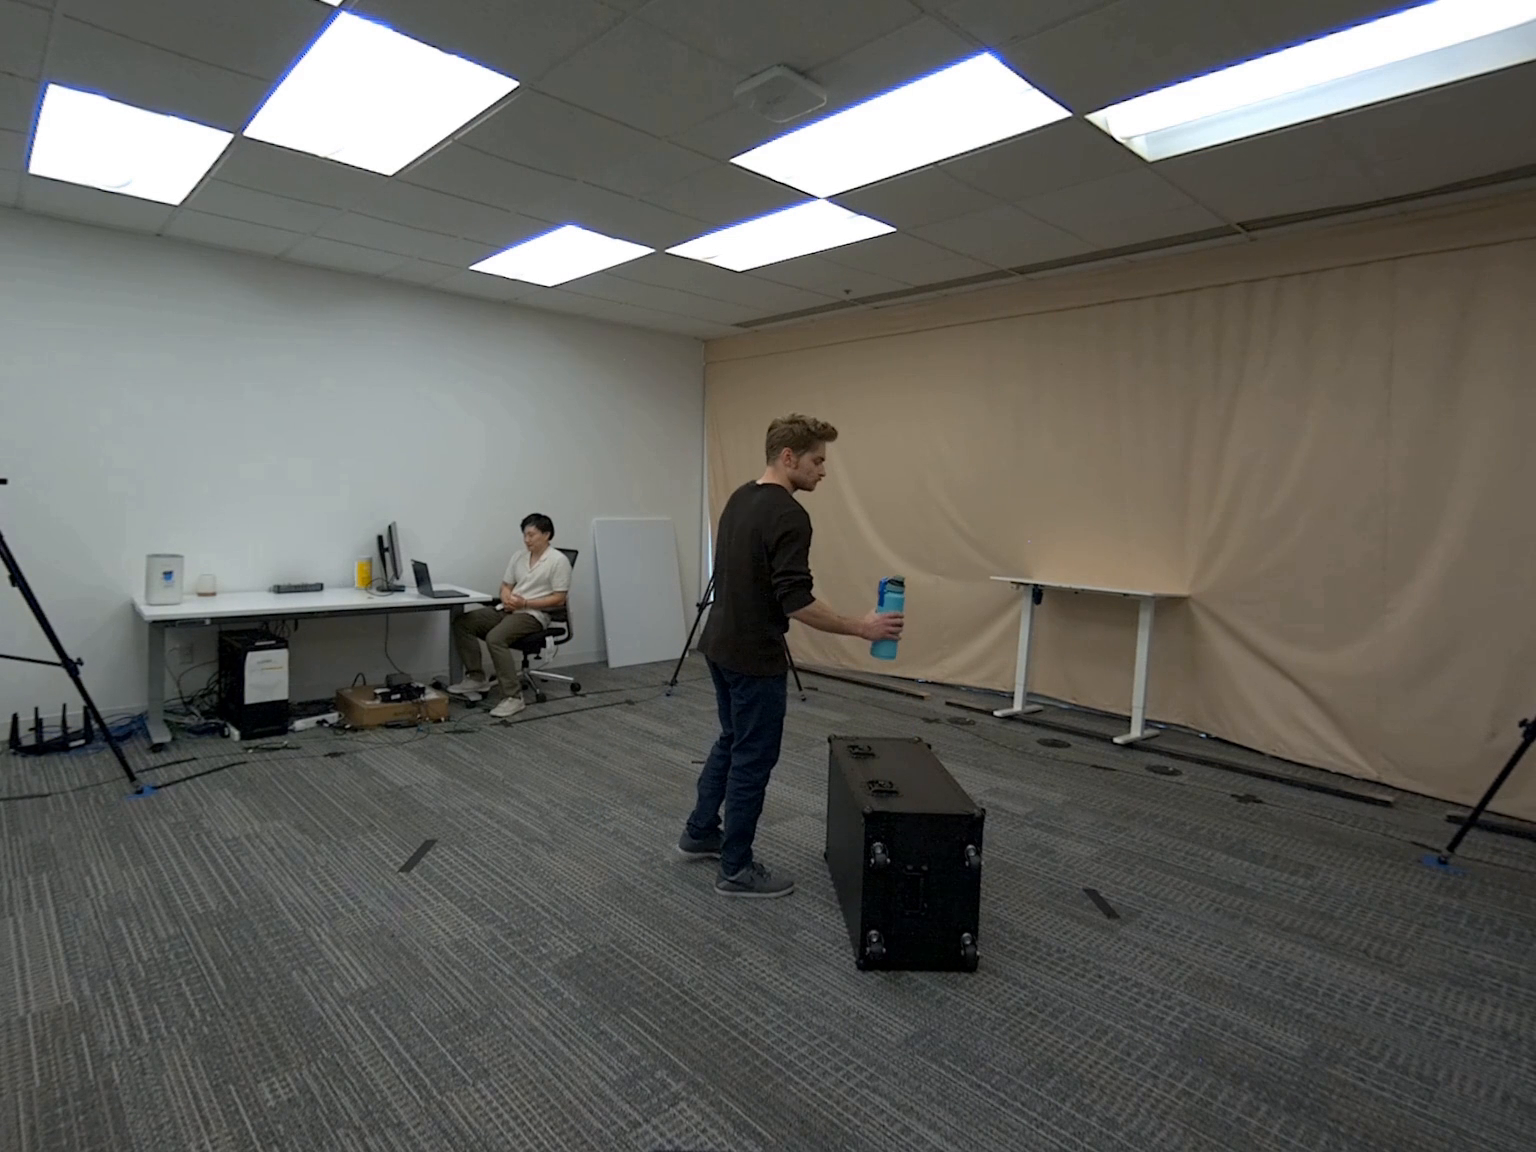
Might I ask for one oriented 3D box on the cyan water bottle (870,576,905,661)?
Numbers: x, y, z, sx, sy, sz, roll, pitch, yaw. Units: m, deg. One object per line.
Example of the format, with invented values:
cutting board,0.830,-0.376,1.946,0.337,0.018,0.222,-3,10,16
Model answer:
cyan water bottle,0.402,0.139,2.858,0.092,0.282,0.093,7,5,-2
